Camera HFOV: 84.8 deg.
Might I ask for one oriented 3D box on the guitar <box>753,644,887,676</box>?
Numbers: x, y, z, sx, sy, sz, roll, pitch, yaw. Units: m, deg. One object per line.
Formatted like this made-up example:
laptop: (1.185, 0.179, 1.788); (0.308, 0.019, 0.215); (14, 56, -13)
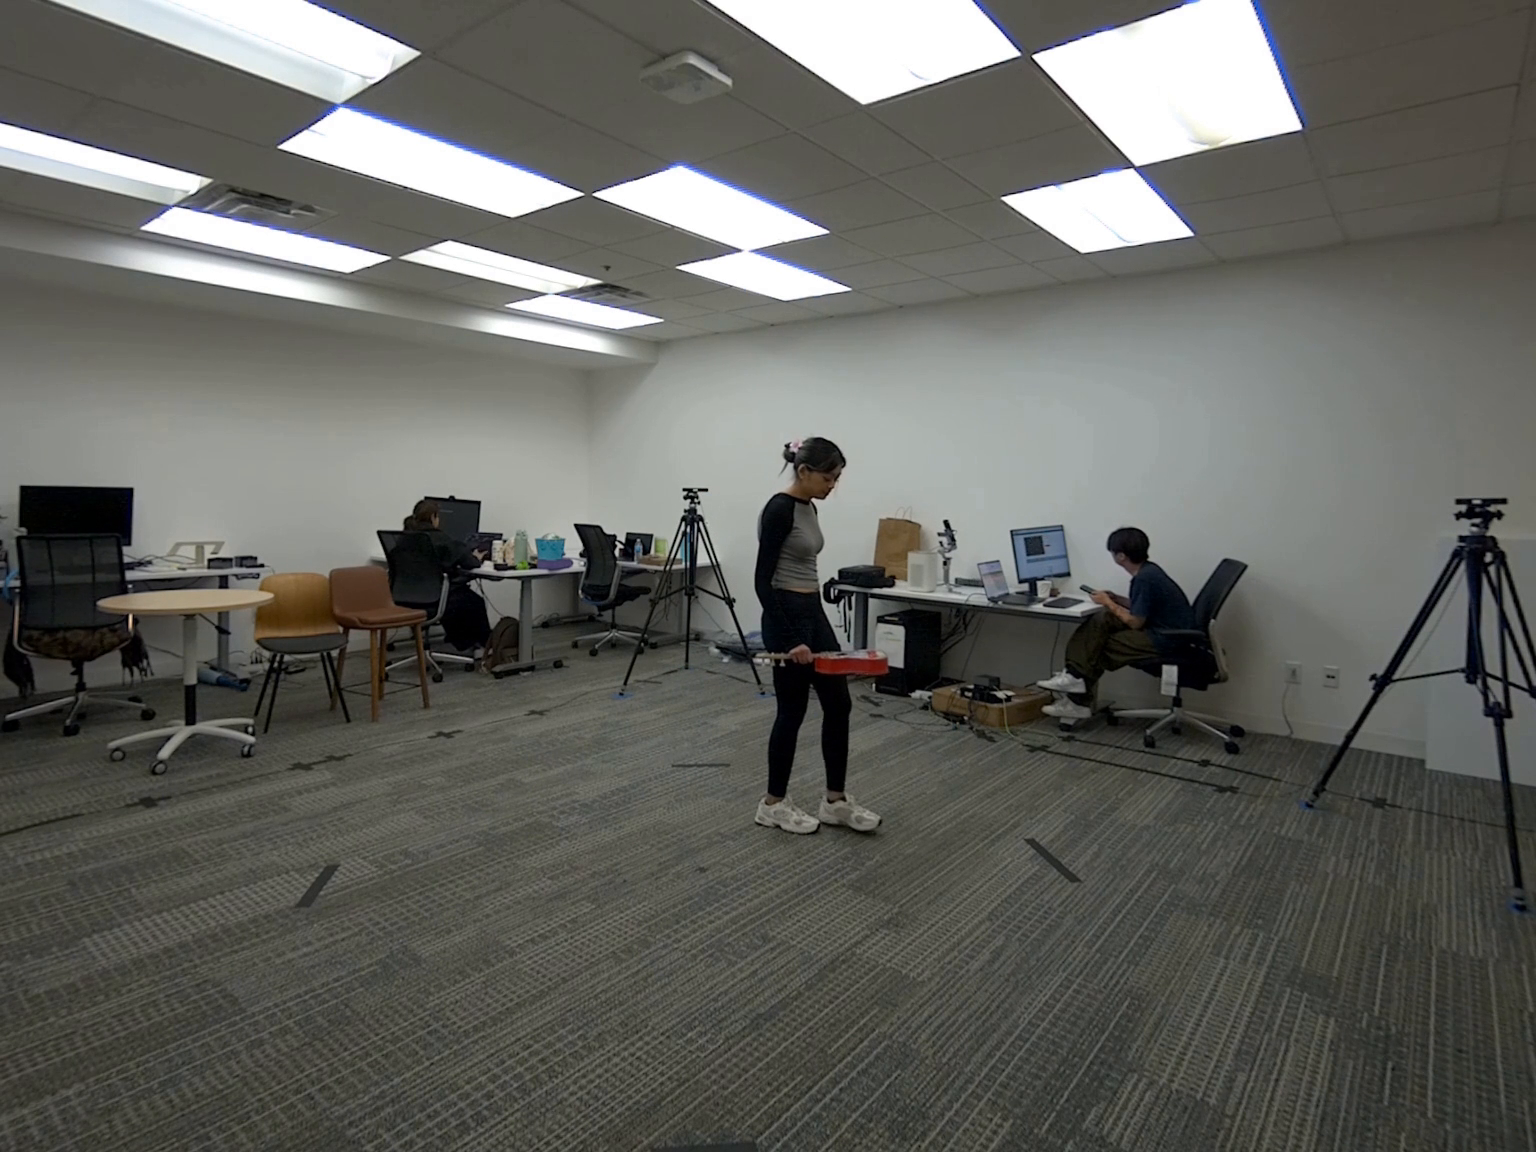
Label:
guitar: (0.200, 0.322, 3.269); (0.503, 0.070, 0.192); (1, 5, 9)
